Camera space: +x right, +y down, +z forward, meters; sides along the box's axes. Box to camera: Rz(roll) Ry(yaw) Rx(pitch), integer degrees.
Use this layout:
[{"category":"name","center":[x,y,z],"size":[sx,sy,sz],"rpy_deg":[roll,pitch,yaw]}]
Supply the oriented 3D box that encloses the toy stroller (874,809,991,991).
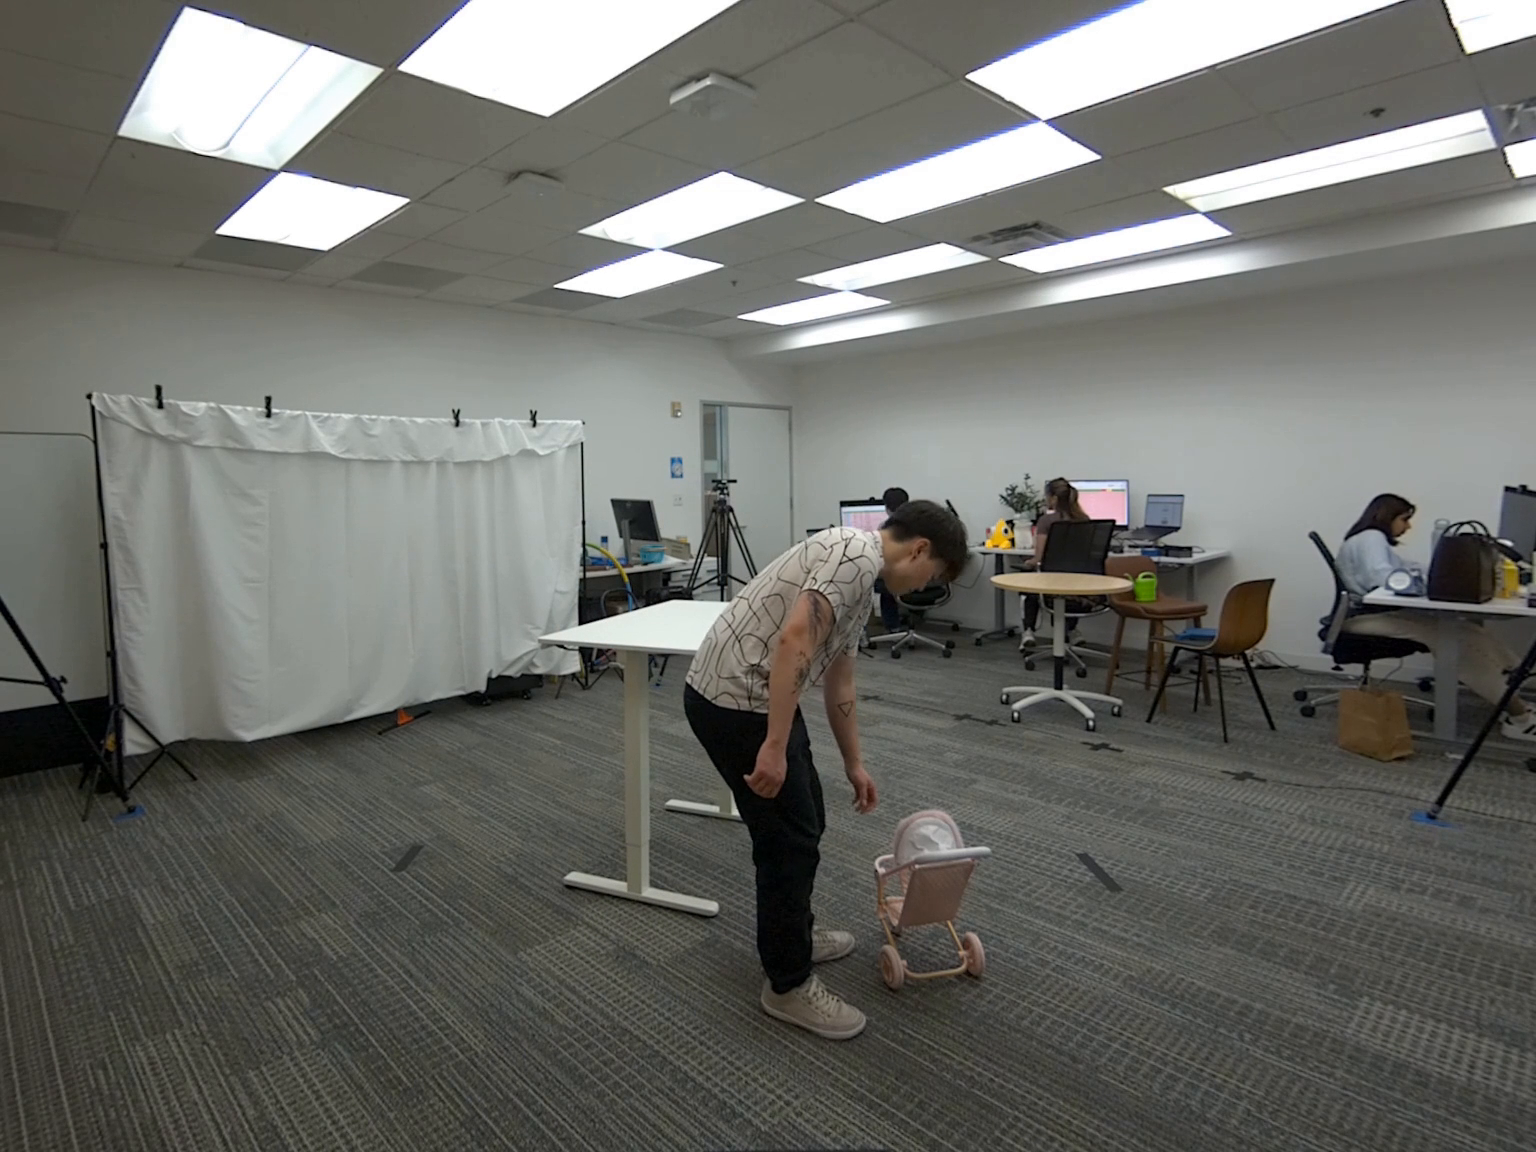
[{"category":"toy stroller","center":[0.447,0.889,2.427],"size":[0.279,0.526,0.350],"rpy_deg":[-1,20,-10]}]
